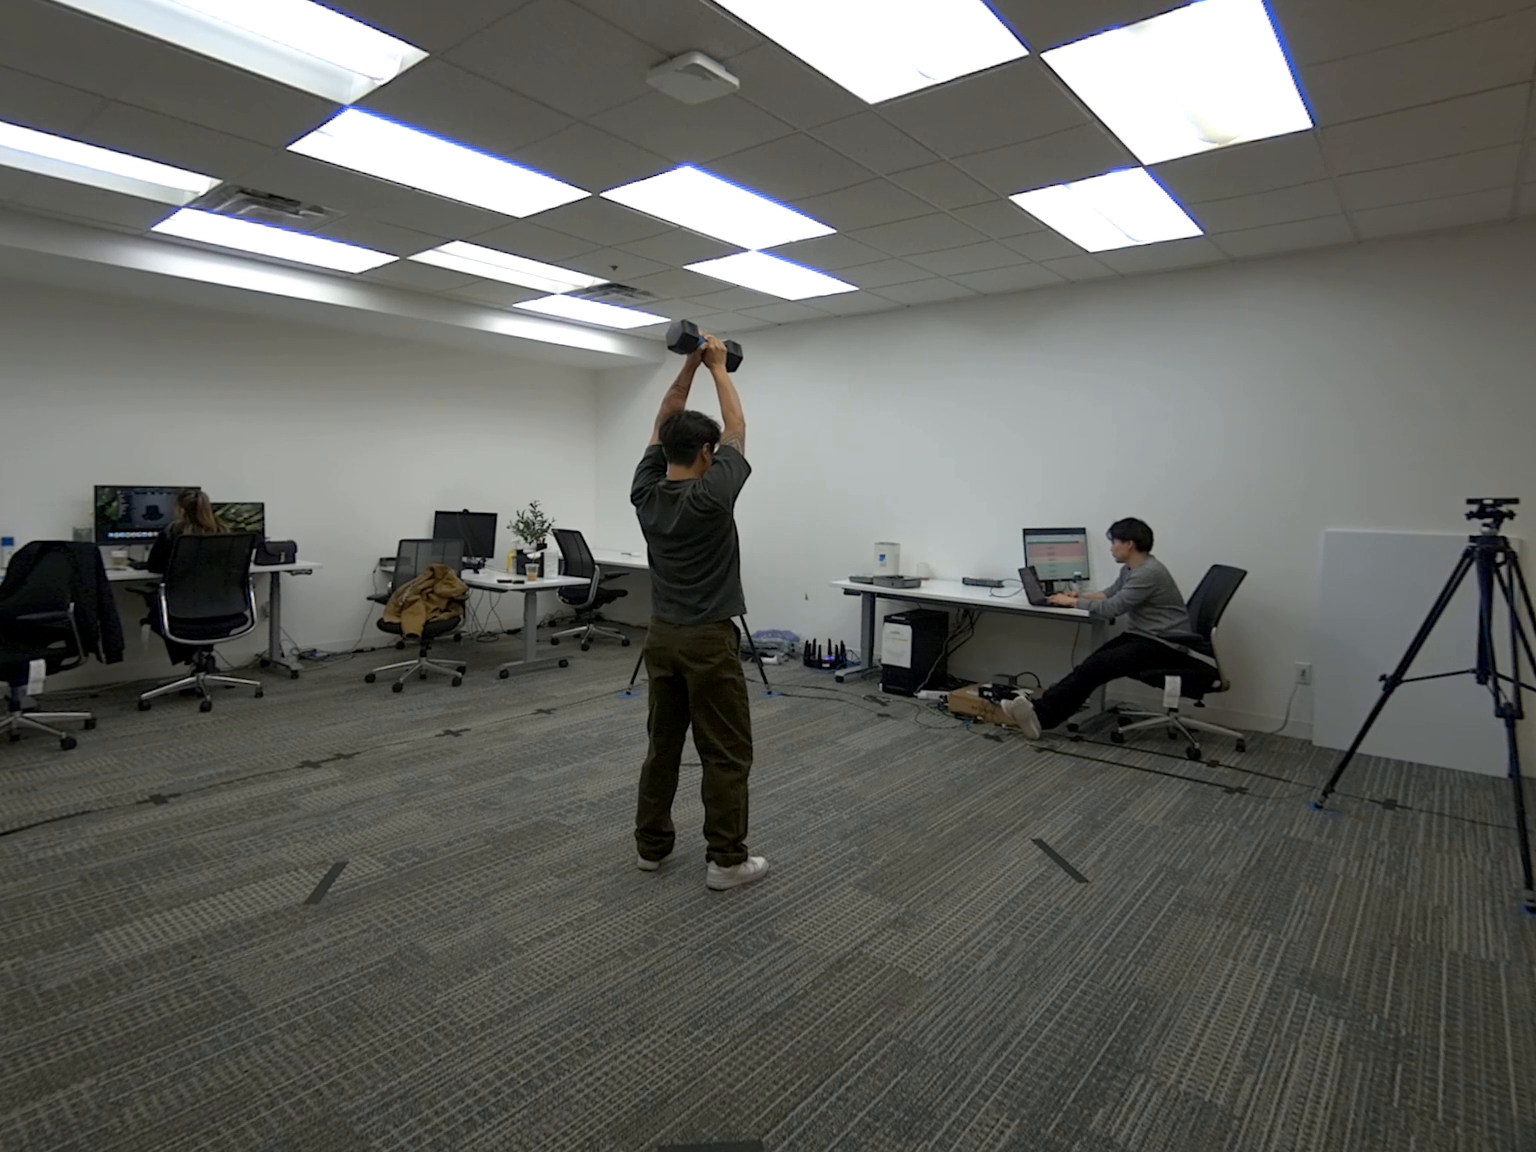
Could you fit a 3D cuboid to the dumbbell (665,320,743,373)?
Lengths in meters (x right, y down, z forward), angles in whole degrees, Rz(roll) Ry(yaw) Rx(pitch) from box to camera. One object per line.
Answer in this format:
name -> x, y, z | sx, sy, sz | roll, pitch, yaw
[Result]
dumbbell -> -0.244, -0.841, 3.097 | 0.283, 0.126, 0.110 | 14, -35, -41
